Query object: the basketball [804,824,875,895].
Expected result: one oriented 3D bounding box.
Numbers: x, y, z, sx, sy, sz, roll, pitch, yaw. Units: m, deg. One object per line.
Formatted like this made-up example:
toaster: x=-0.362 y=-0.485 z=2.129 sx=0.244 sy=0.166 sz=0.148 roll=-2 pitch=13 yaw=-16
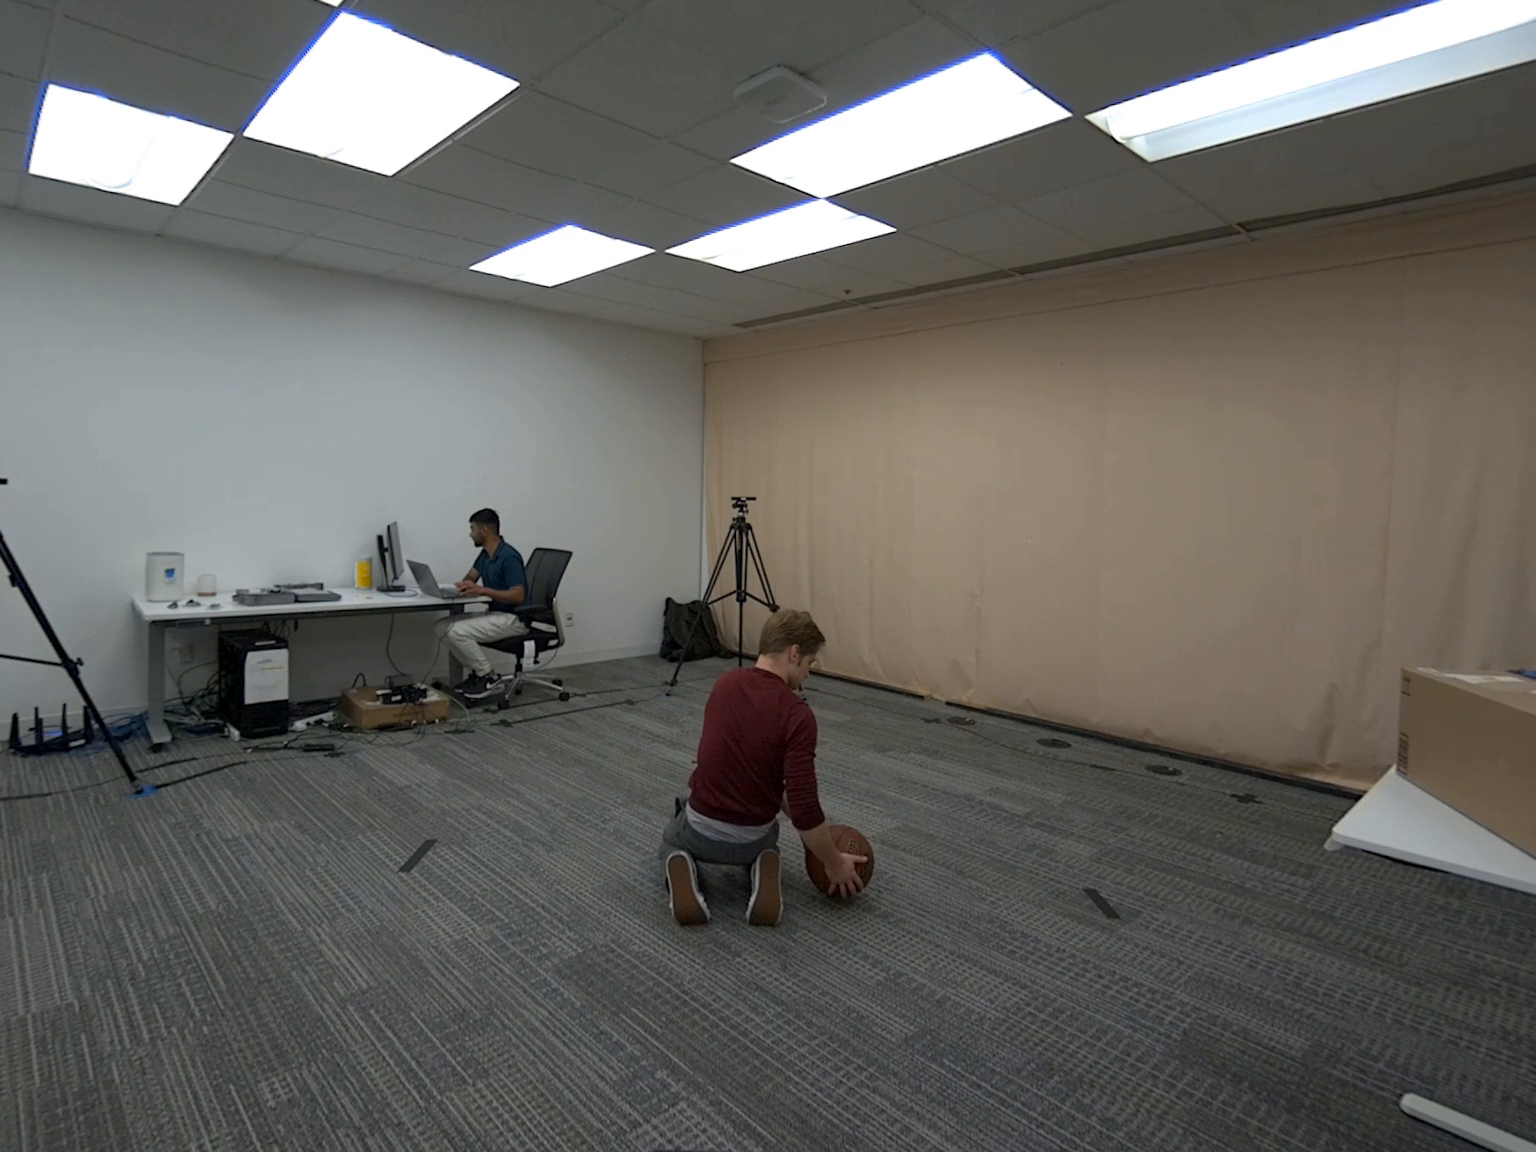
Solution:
basketball: x=0.243 y=0.984 z=2.950 sx=0.236 sy=0.235 sz=0.237 roll=1 pitch=4 yaw=-1
